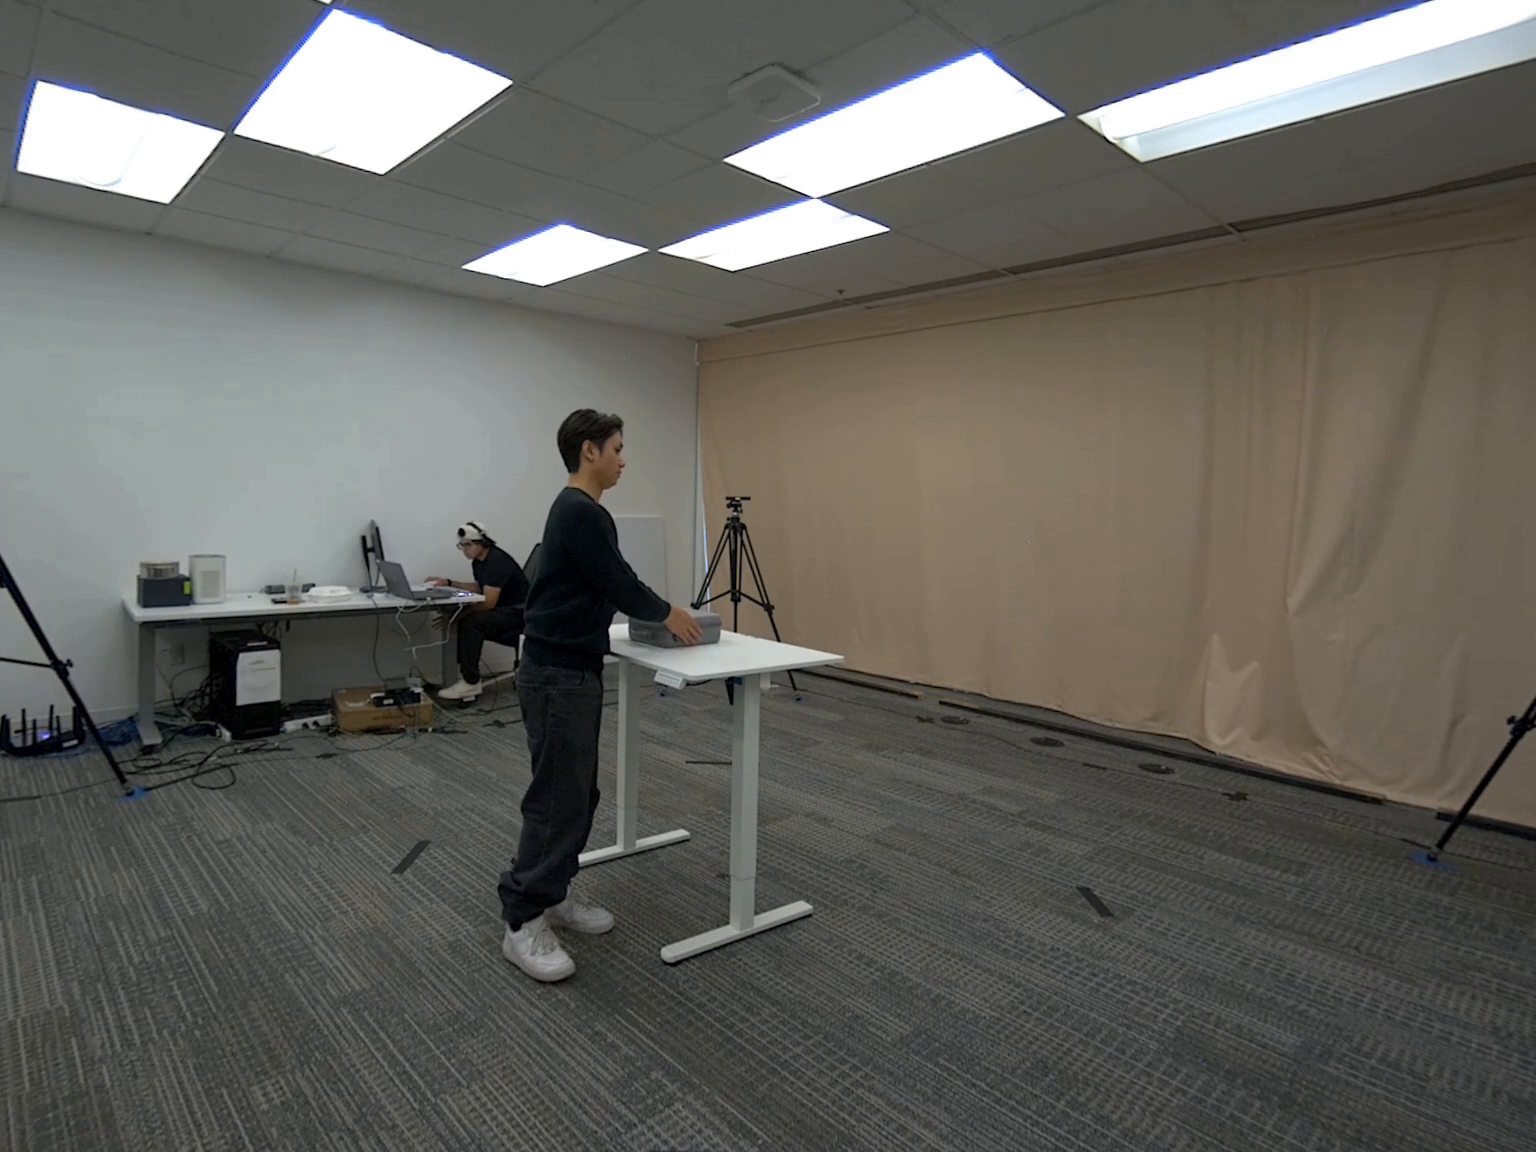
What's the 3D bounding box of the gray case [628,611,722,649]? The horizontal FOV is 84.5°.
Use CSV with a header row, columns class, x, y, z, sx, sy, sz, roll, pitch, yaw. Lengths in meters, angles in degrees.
class,x,y,z,sx,sy,sz,roll,pitch,yaw
gray case,-0.340,0.181,2.977,0.255,0.104,0.263,-2,6,-40
